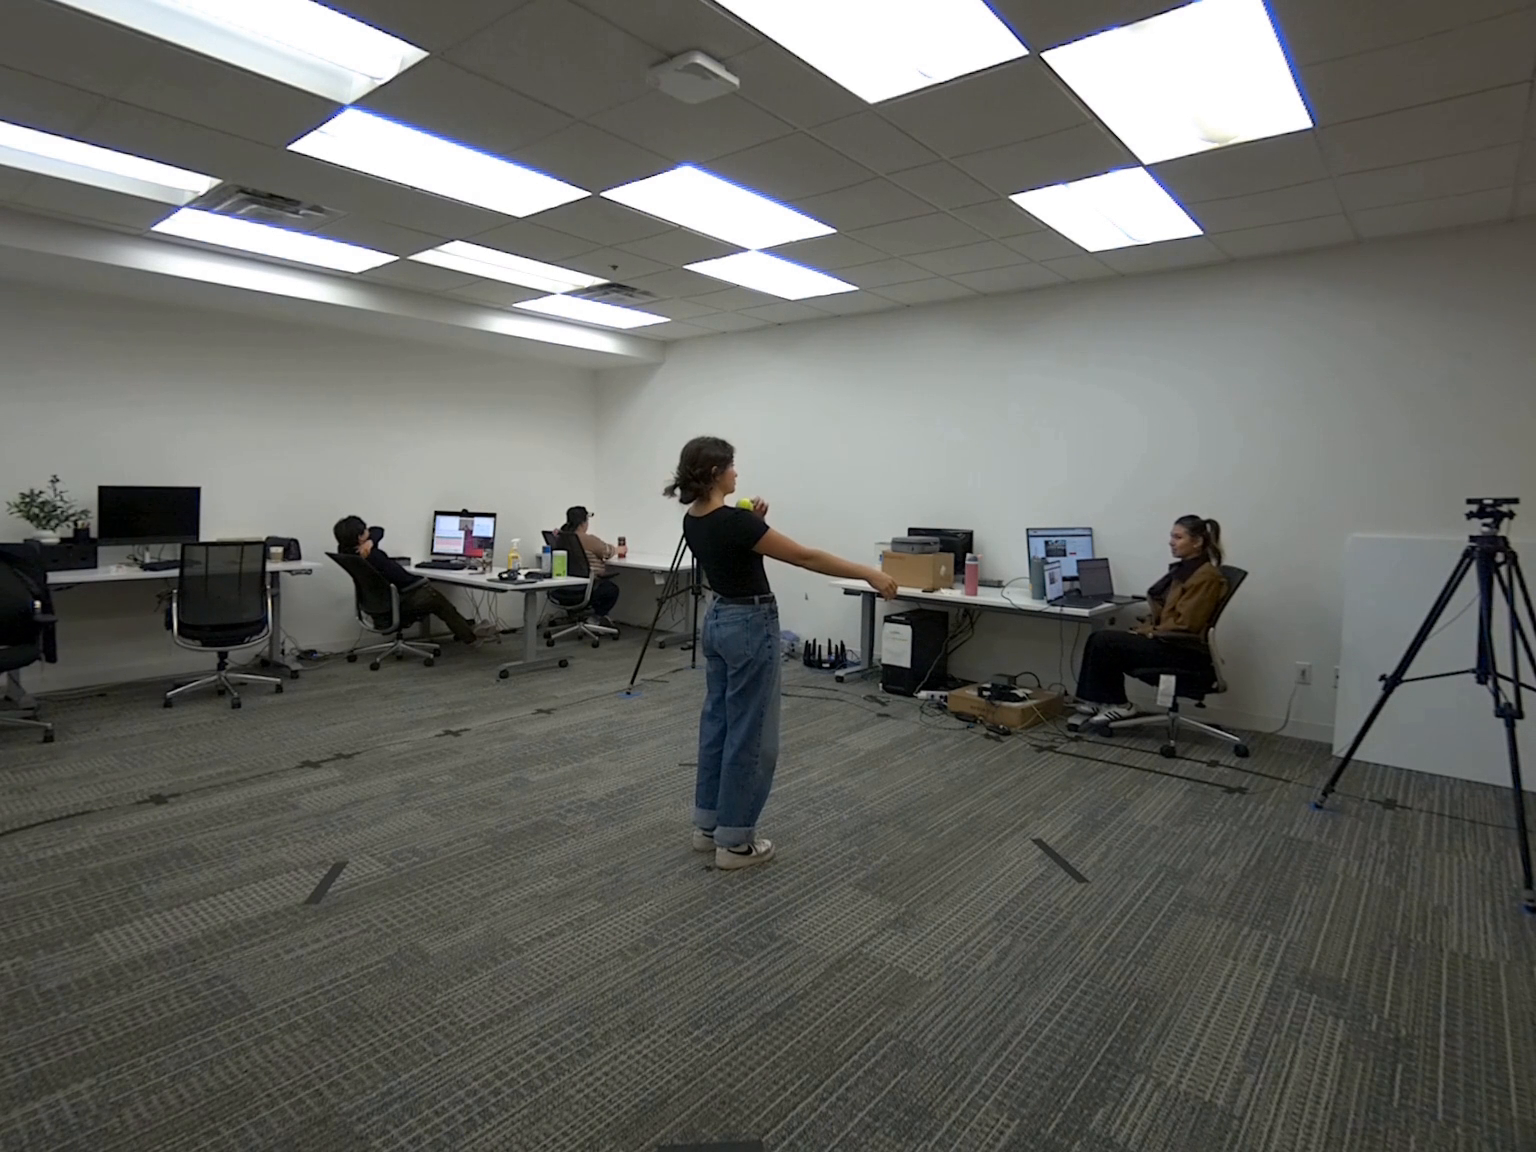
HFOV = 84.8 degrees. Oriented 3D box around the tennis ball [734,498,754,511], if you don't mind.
[{"bbox_3d":[-0.100,-0.258,3.154,0.066,0.066,0.067,1,4,-2],"label":"tennis ball"}]
